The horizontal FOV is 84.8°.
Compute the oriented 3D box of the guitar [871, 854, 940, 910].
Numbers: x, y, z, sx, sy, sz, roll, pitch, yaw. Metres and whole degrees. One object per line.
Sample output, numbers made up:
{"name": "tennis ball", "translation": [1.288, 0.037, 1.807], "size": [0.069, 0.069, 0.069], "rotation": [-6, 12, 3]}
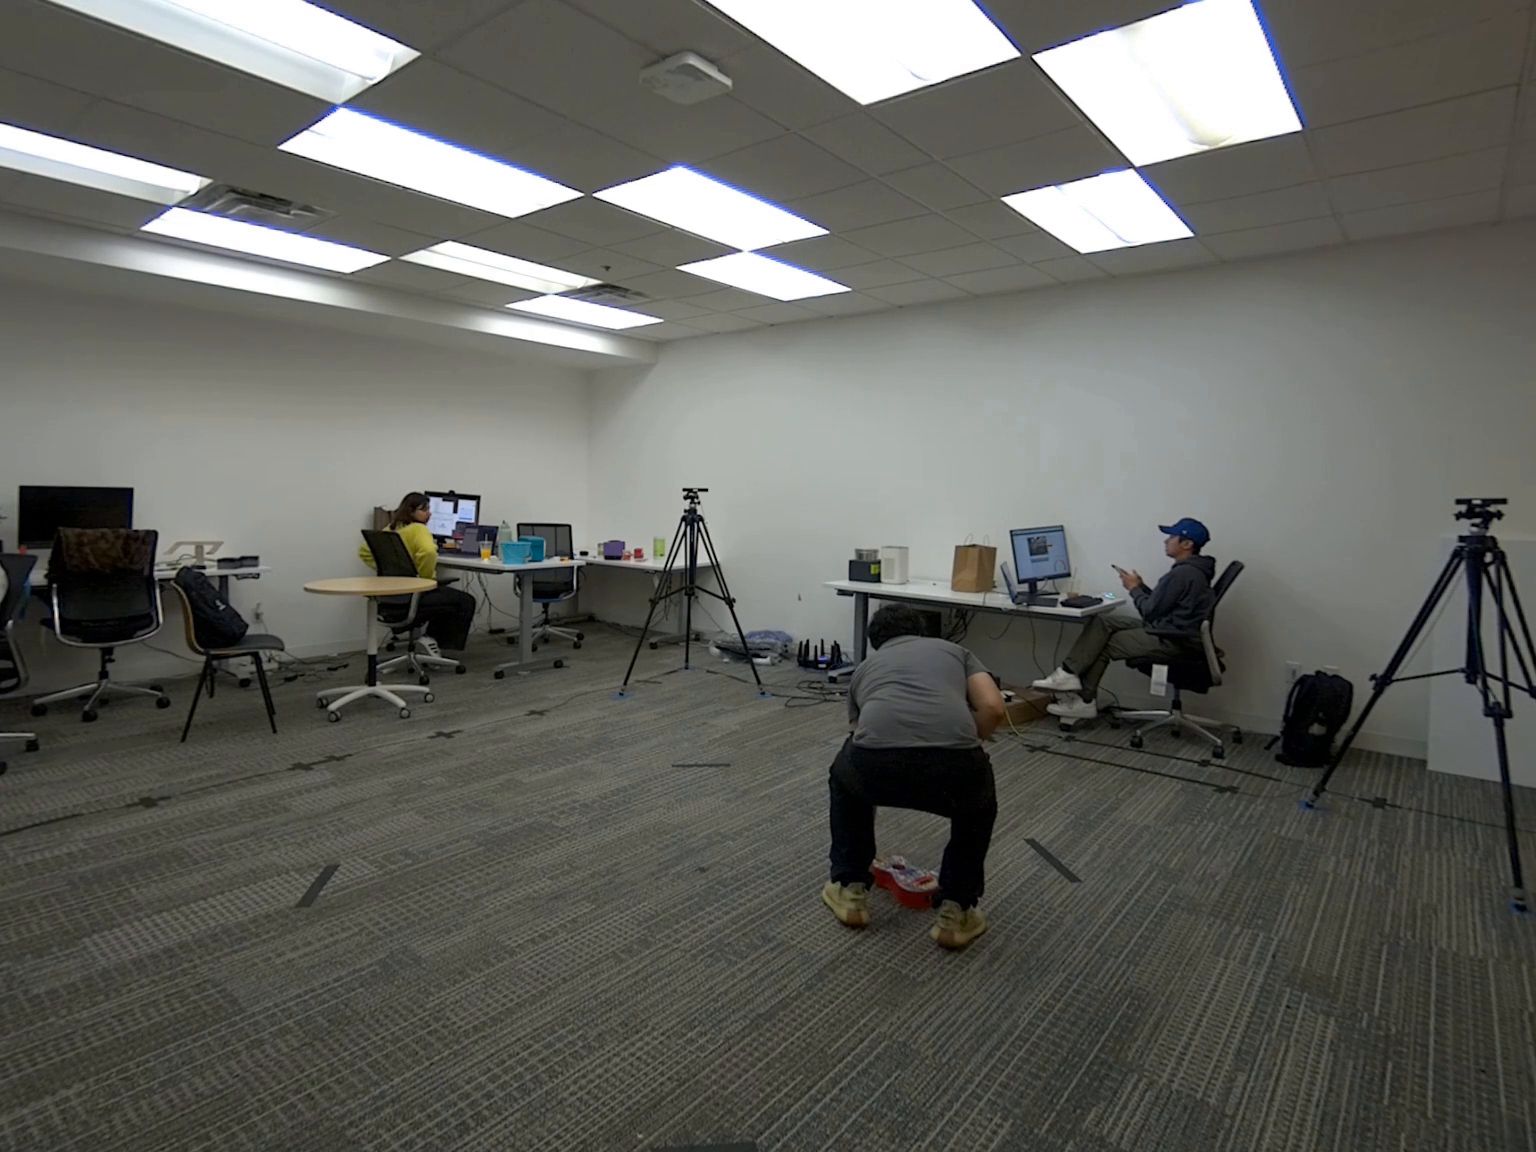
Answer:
{"name": "guitar", "translation": [0.436, 1.040, 3.096], "size": [0.188, 0.070, 0.513], "rotation": [-2, 9, -26]}
